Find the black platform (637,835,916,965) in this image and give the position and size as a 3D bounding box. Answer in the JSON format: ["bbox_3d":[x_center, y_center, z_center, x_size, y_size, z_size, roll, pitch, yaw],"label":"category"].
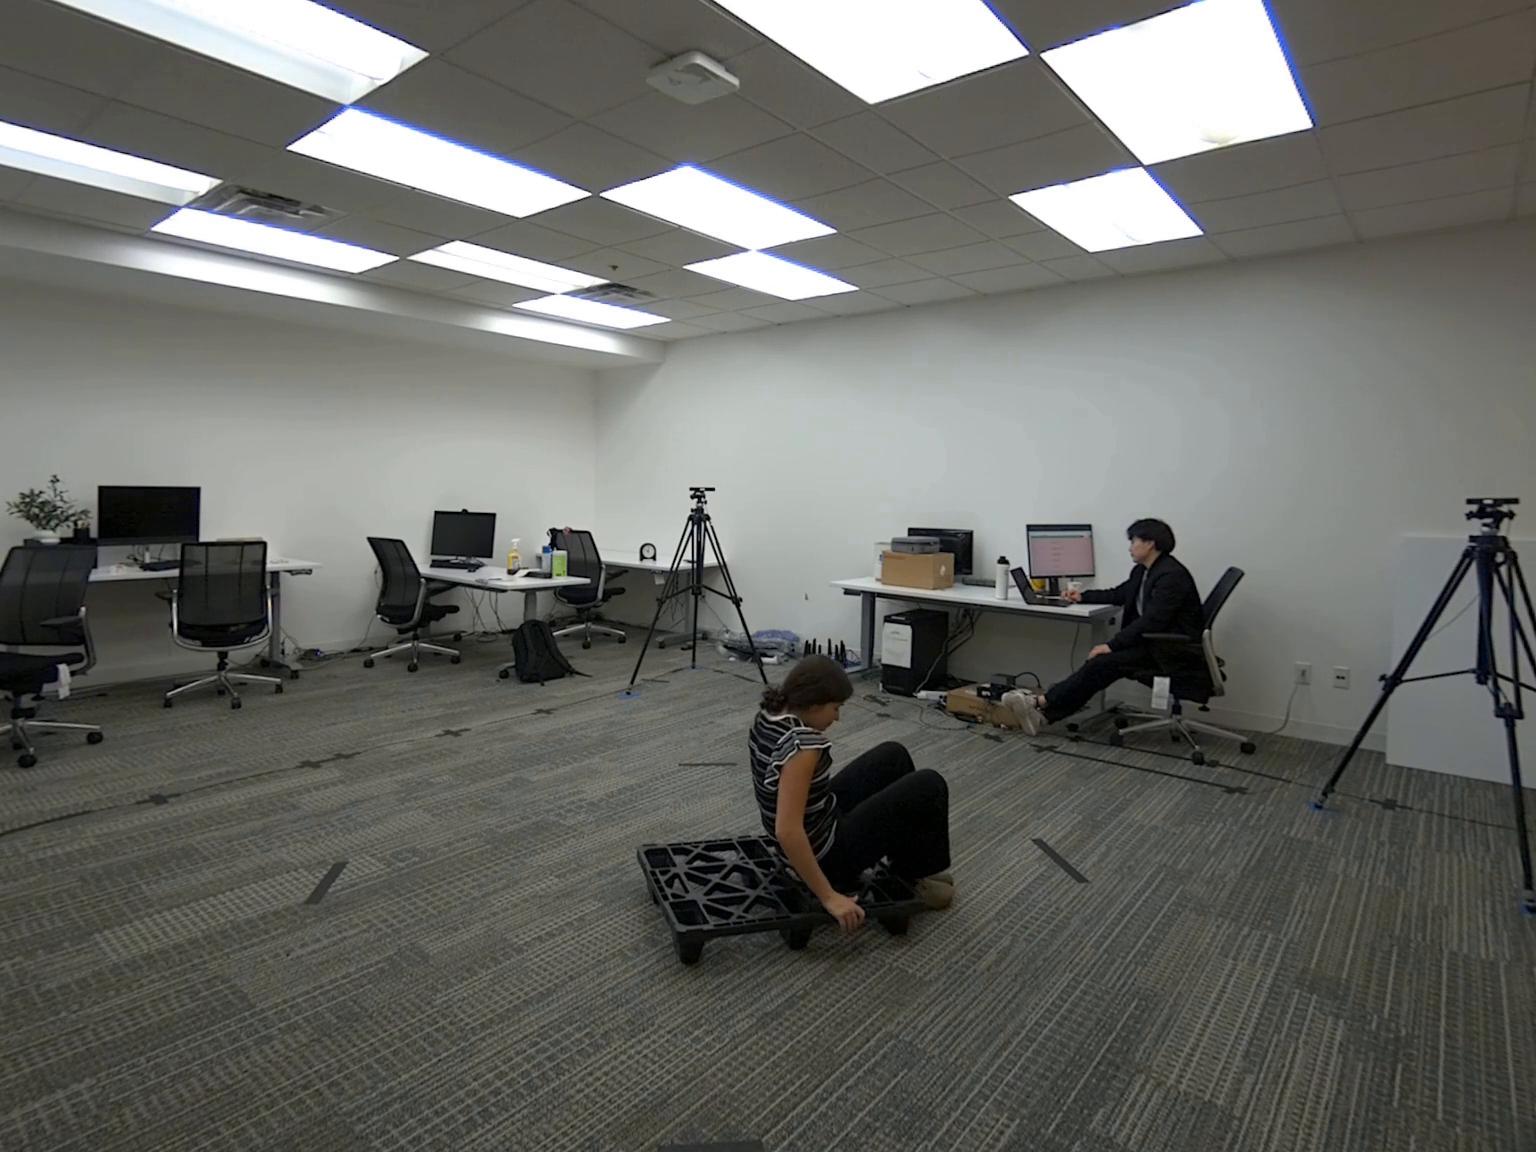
[{"bbox_3d":[0.008,1.035,2.796,0.791,0.143,0.619,0,6,-18],"label":"black platform"}]
